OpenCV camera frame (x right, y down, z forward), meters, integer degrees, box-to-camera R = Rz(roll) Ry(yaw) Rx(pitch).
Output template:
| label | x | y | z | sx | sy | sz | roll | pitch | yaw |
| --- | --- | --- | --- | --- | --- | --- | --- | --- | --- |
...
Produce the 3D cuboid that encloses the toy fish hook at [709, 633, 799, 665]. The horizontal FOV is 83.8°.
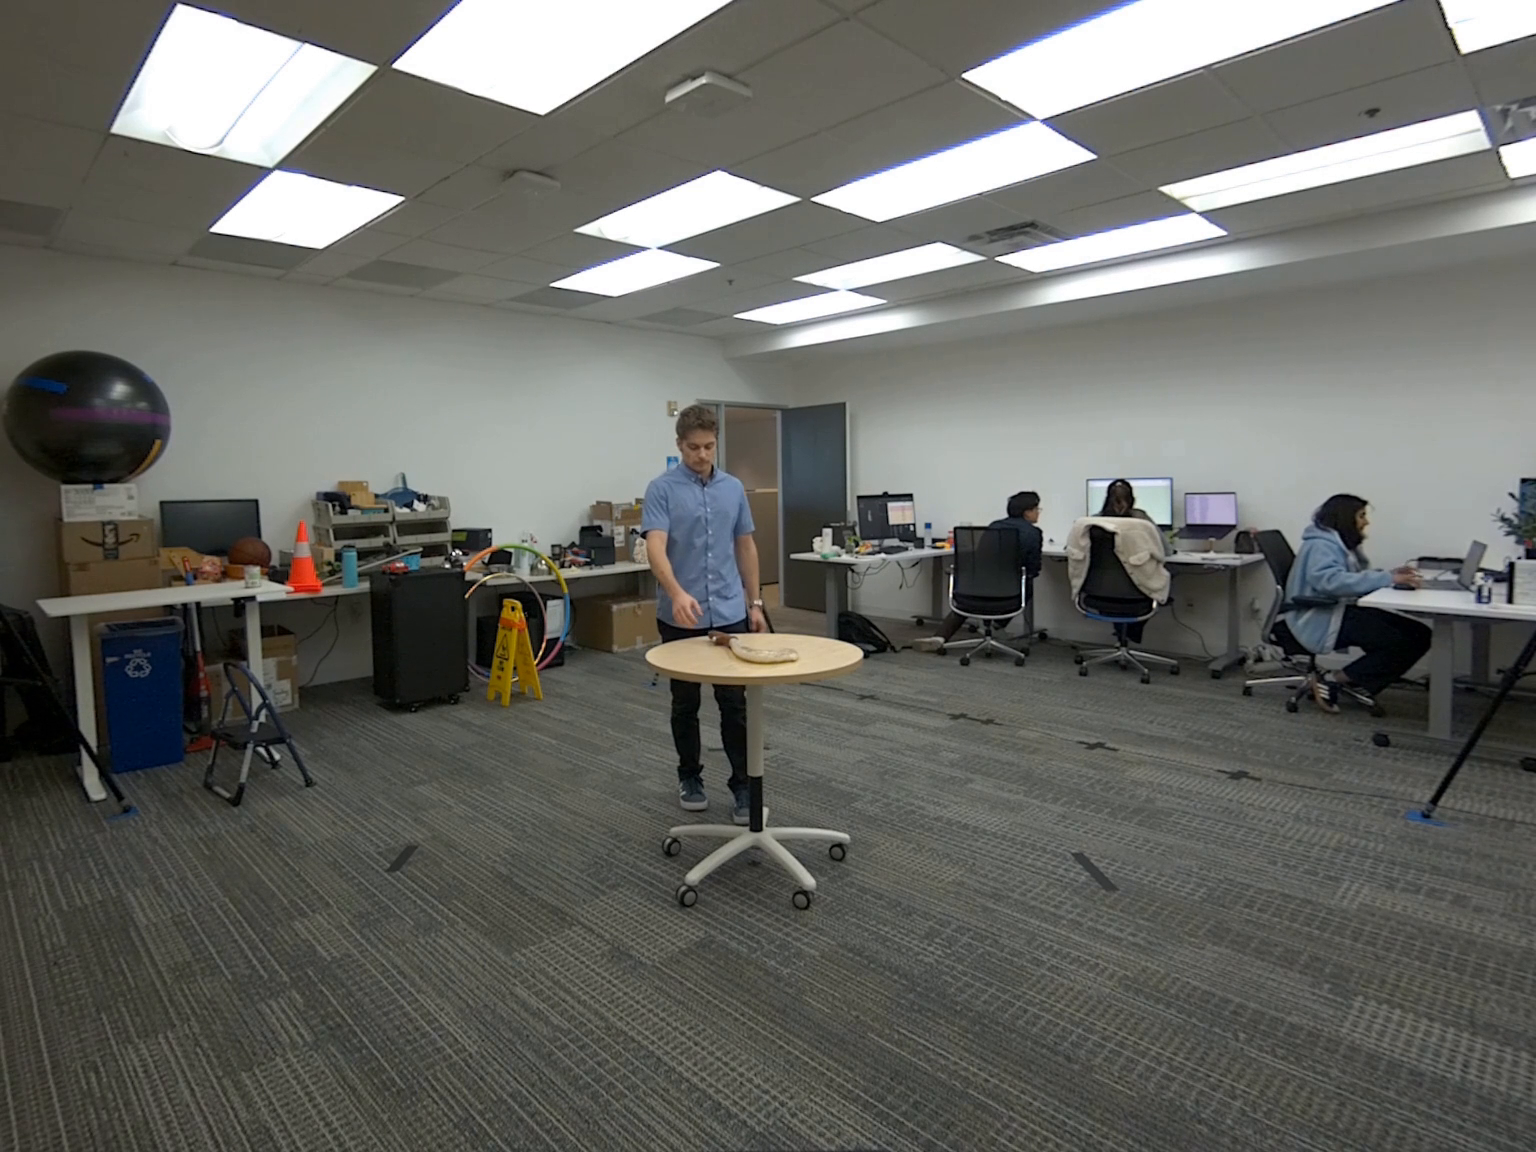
| label | x | y | z | sx | sy | sz | roll | pitch | yaw |
| --- | --- | --- | --- | --- | --- | --- | --- | --- | --- |
| toy fish hook | -0.058 | 0.257 | 3.058 | 0.220 | 0.048 | 0.519 | 3 | 5 | -23 |
